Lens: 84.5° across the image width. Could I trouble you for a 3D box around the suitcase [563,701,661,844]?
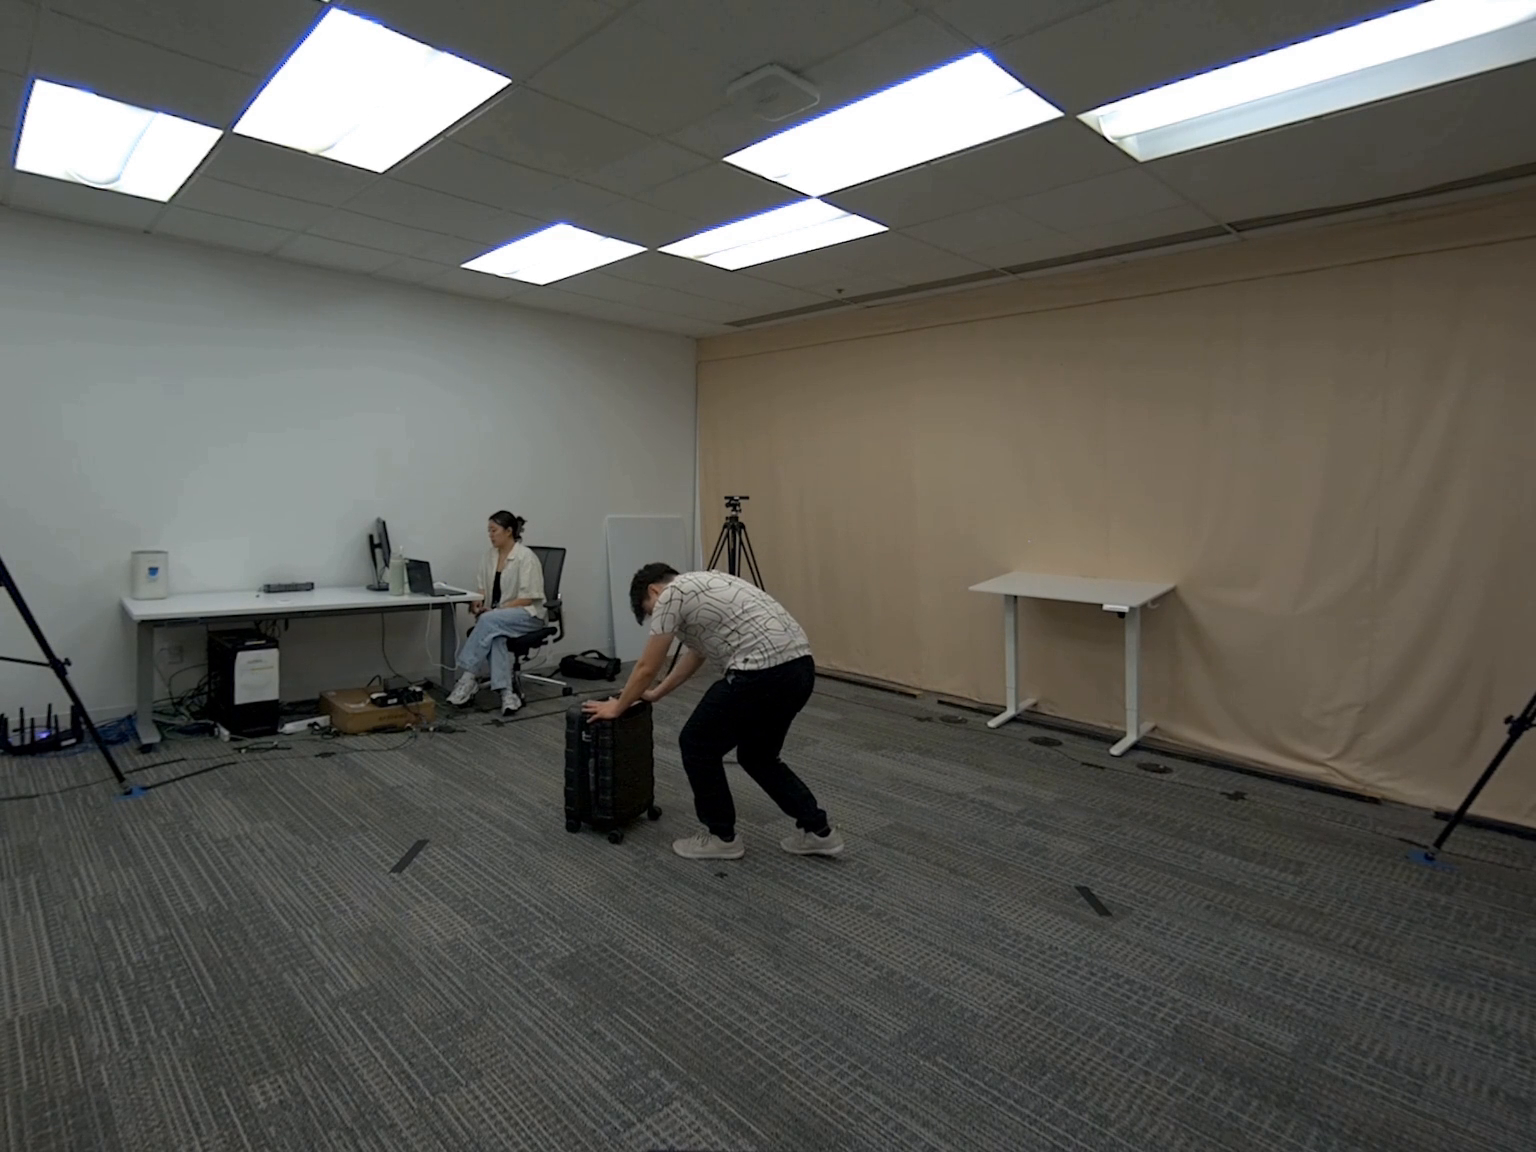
[{"bbox_3d":[-0.666,0.776,3.547,0.253,0.548,0.368,1,3,28],"label":"suitcase"}]
